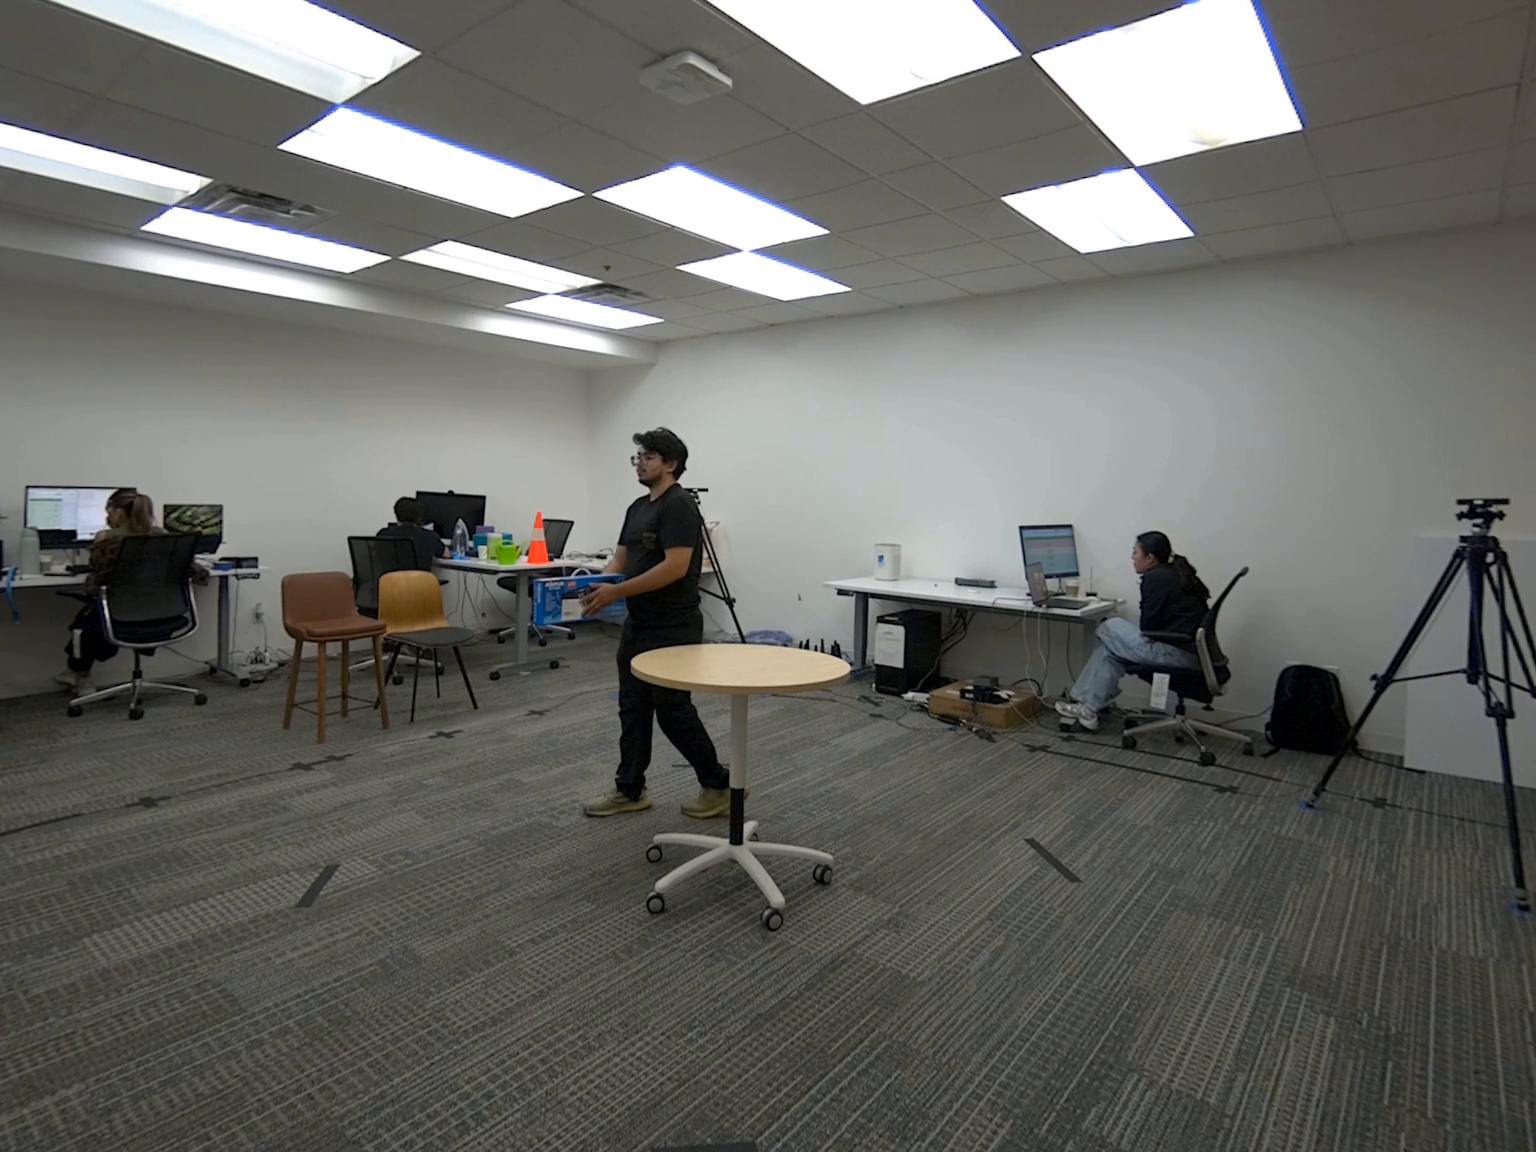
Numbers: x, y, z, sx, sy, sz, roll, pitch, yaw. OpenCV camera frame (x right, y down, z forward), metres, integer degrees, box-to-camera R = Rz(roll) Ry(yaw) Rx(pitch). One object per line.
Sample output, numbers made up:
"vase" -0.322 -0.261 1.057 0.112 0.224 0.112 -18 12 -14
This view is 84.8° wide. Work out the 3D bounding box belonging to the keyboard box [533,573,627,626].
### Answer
"keyboard box" -0.752 0.086 3.387 0.061 0.175 0.424 3 5 37
